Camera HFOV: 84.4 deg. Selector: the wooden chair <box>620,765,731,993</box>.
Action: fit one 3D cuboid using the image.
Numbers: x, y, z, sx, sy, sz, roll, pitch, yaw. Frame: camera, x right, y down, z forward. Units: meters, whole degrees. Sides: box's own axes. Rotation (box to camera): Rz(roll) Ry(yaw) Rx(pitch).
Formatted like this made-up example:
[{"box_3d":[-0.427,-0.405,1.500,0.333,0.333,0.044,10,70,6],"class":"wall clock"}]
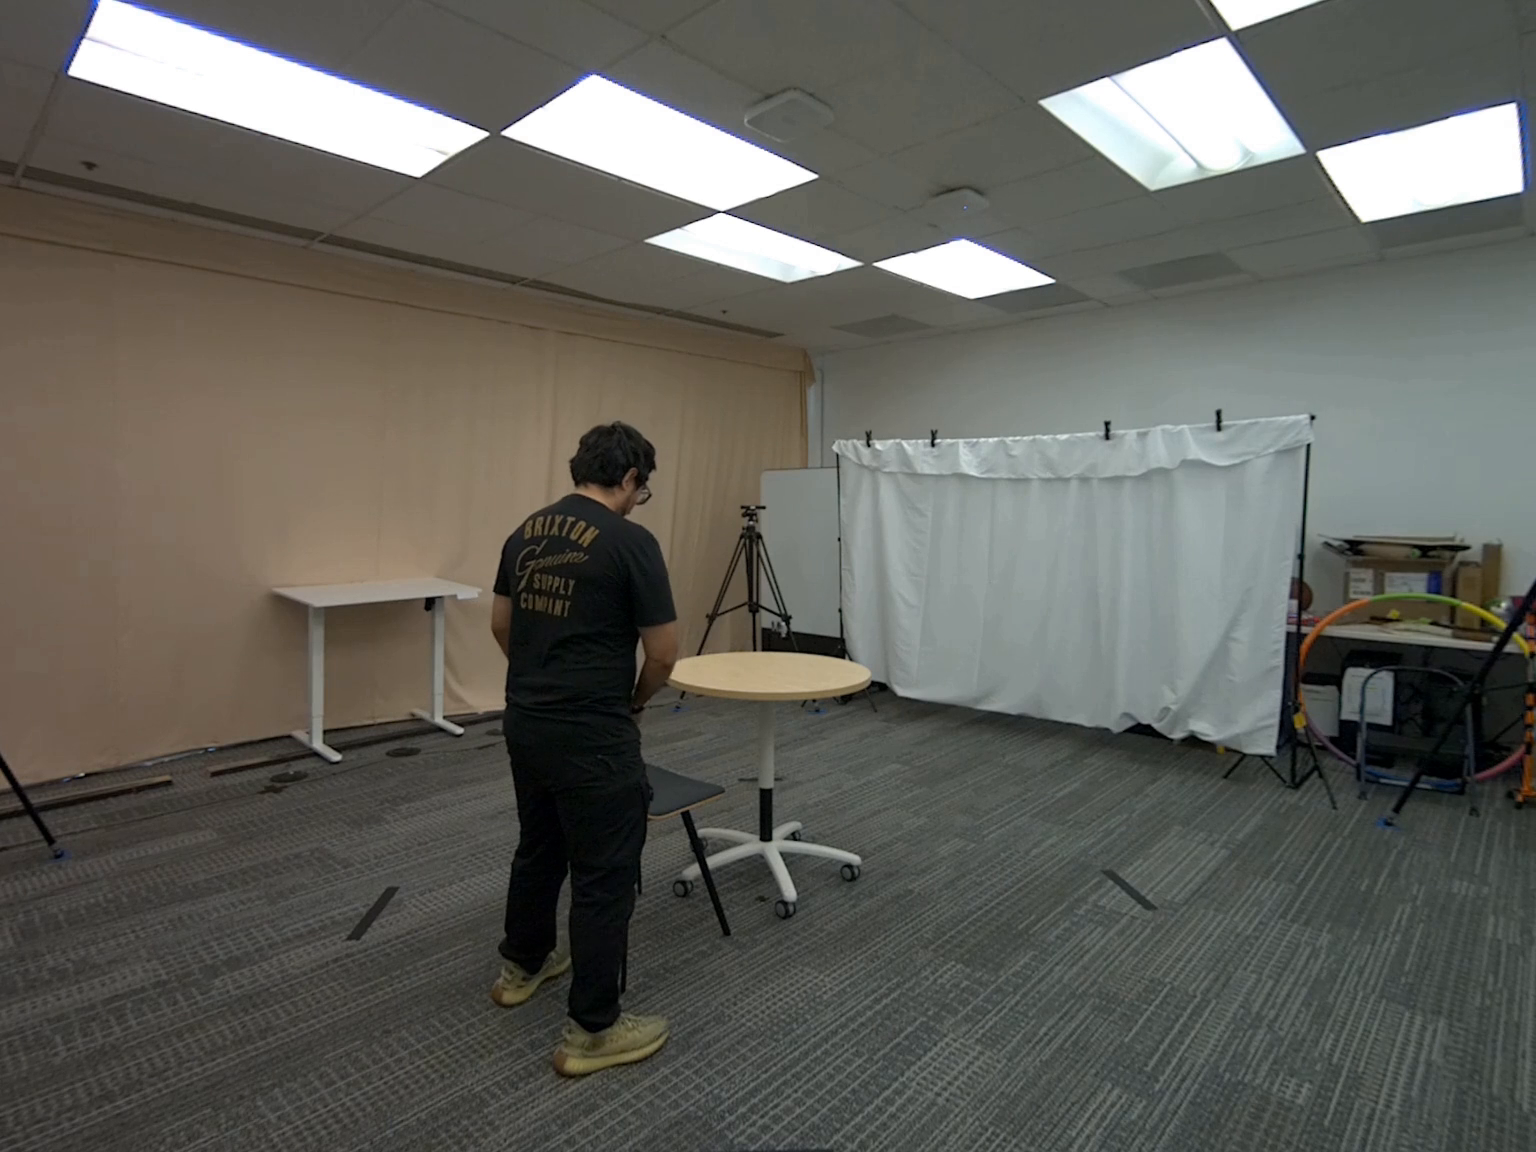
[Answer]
[{"box_3d":[-0.435,0.743,2.701,0.494,0.874,0.508,1,8,43],"class":"wooden chair"}]
